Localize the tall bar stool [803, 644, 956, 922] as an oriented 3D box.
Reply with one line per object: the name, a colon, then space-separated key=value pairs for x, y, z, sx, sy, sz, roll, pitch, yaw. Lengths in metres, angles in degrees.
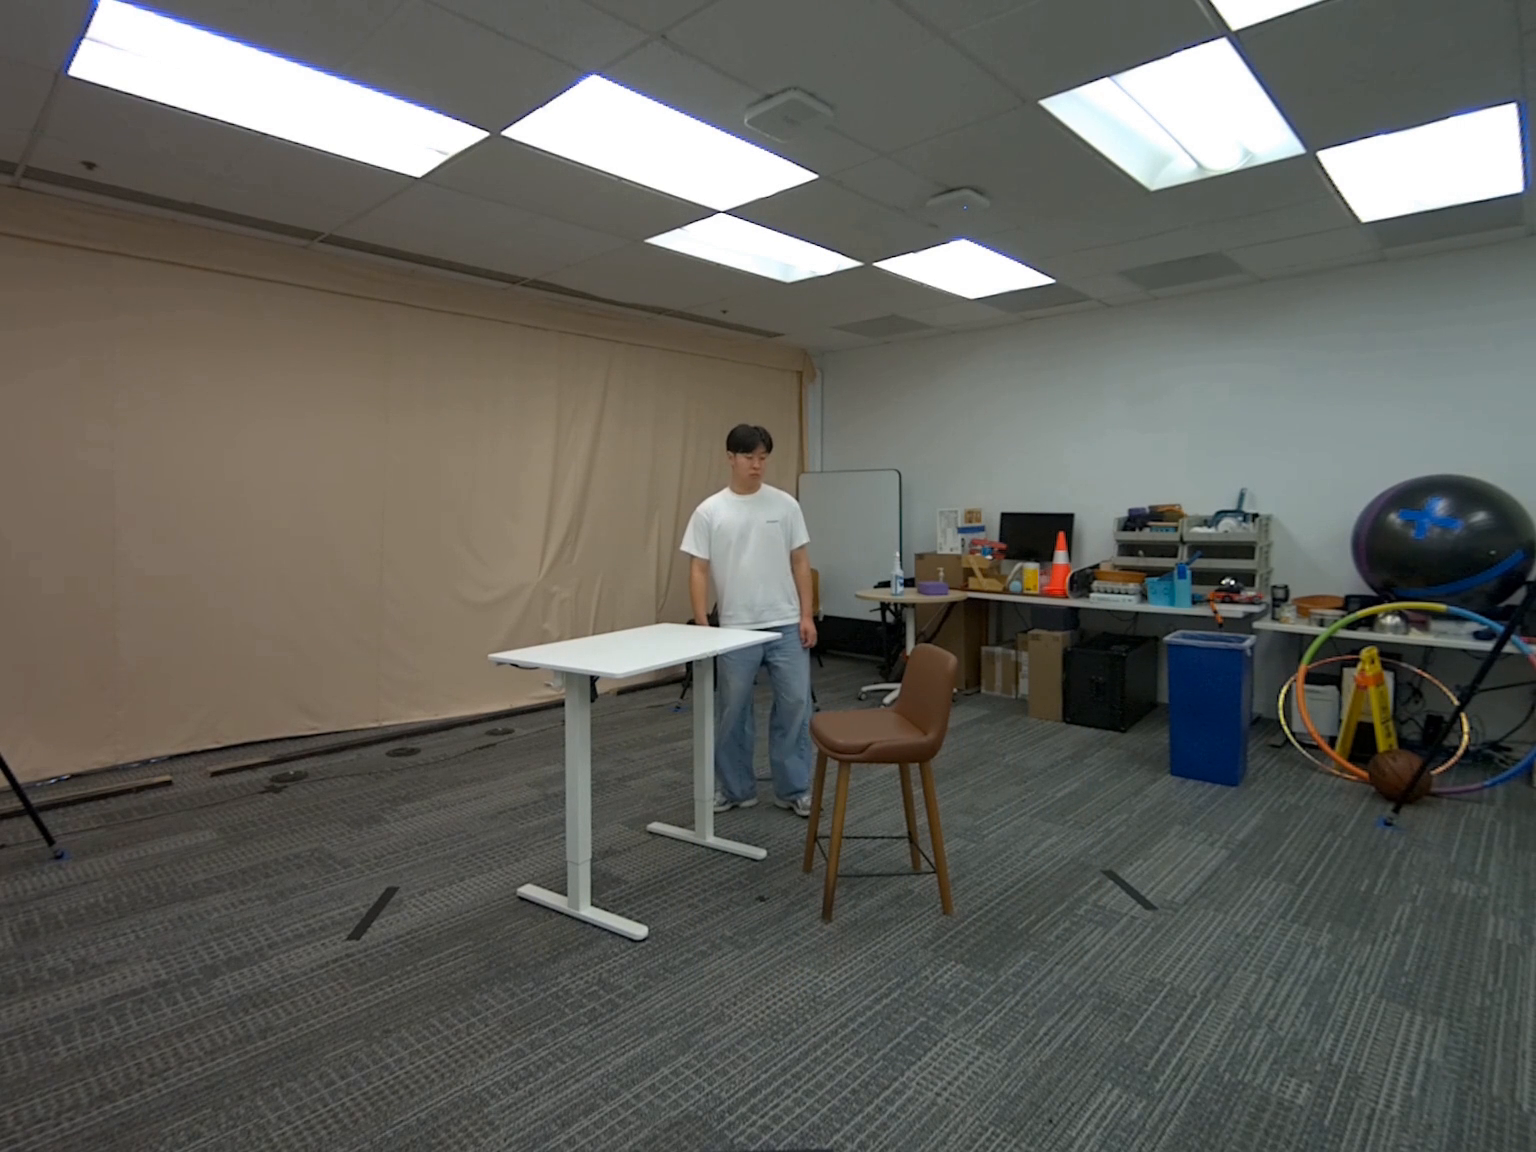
tall bar stool: x=0.397 y=0.707 z=2.994 sx=0.464 sy=0.888 sz=0.461 roll=2 pitch=3 yaw=-7
